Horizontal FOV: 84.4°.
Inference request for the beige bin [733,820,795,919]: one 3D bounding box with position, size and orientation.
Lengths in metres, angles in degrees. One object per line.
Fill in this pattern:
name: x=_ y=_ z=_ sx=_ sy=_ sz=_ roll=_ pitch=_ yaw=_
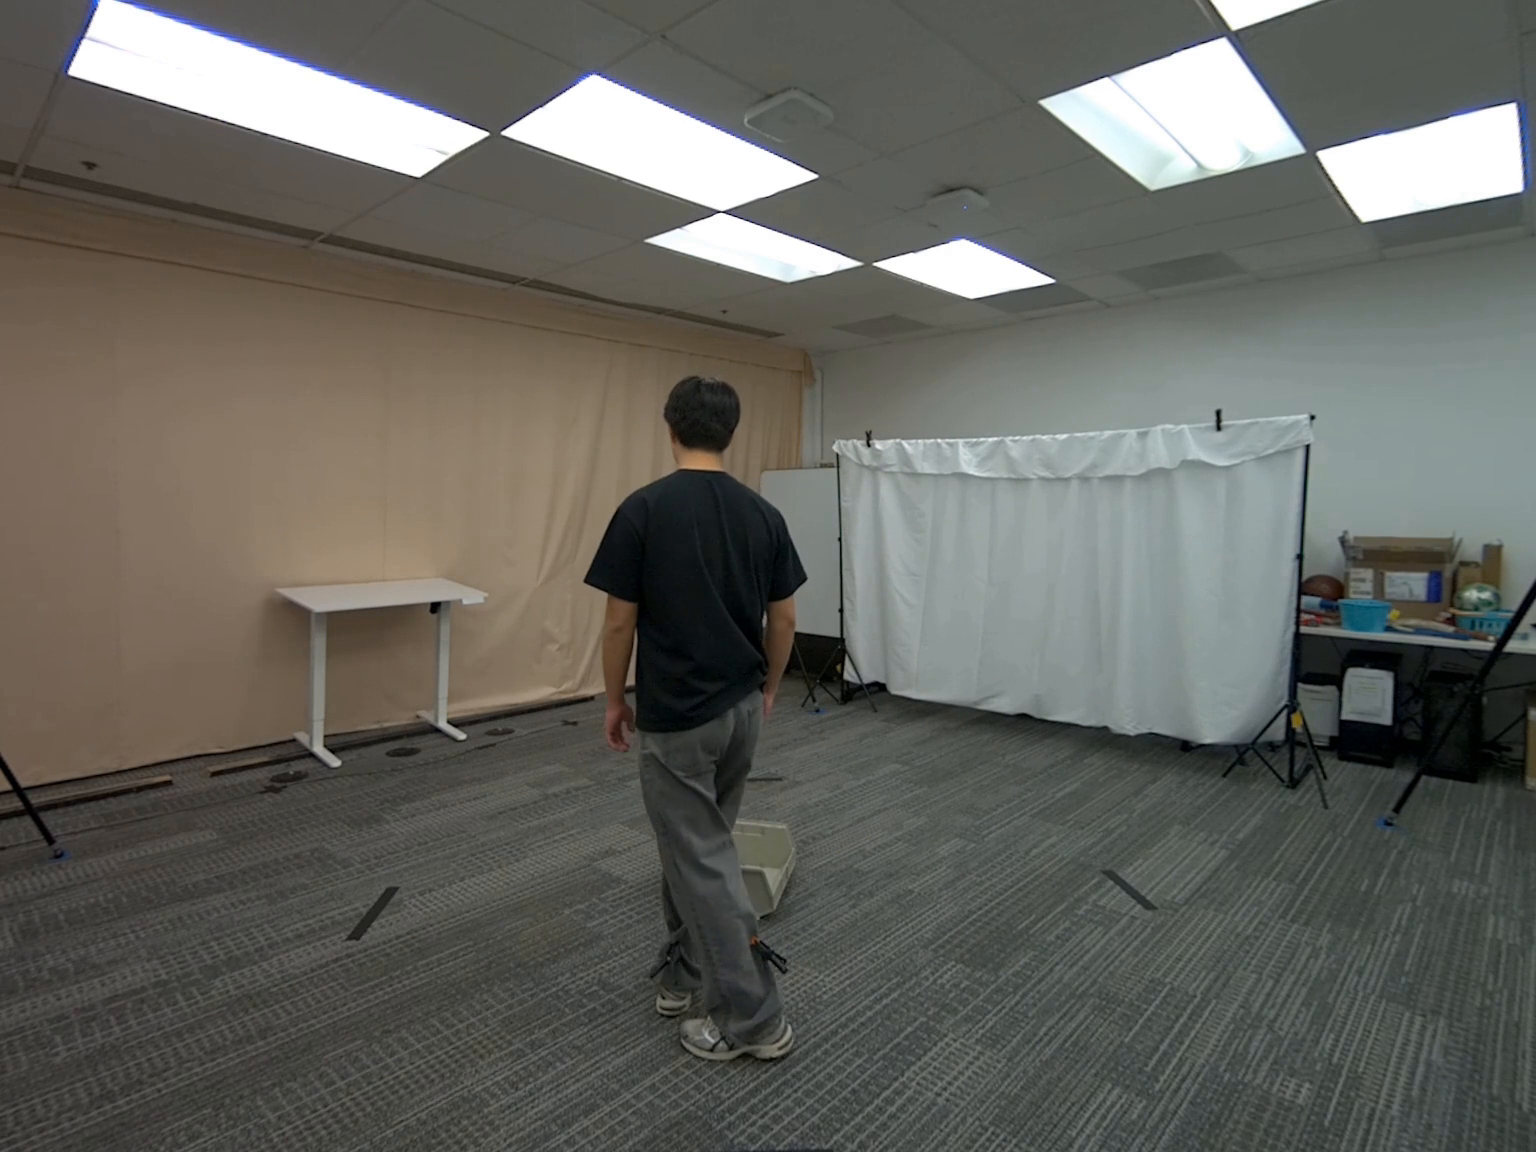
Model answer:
beige bin: x=-0.115 y=1.046 z=3.052 sx=0.383 sy=0.188 sz=0.417 roll=0 pitch=5 yaw=13
